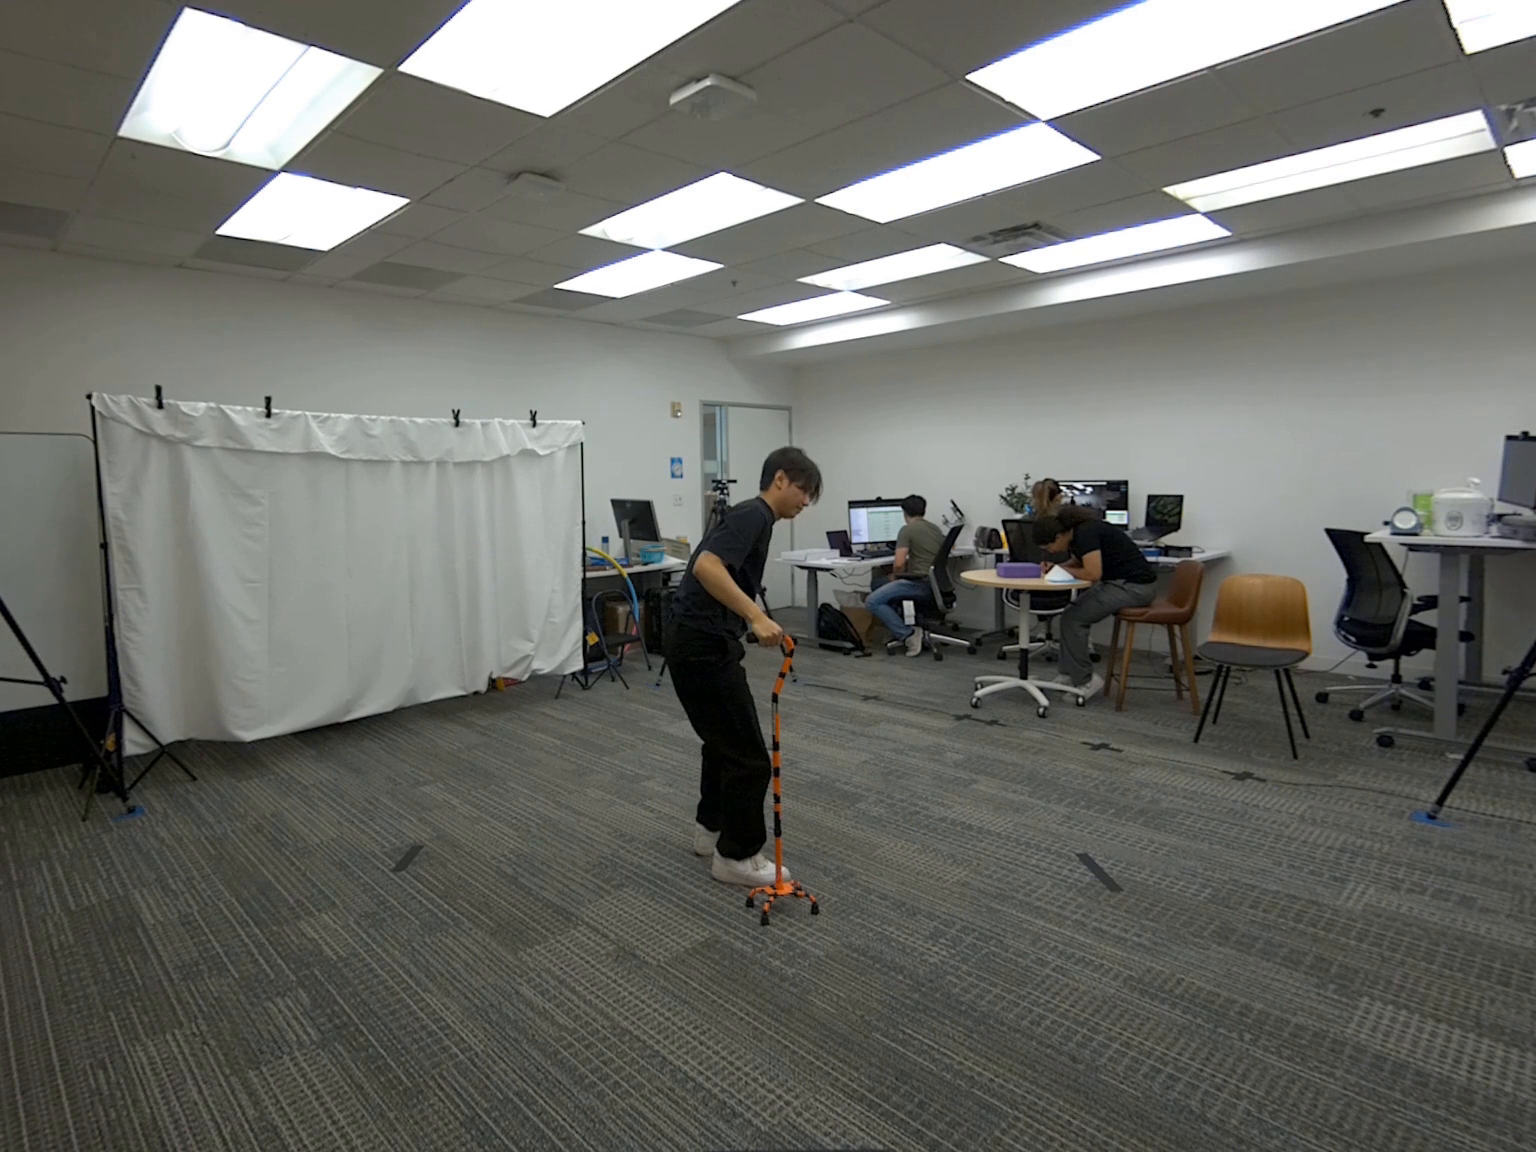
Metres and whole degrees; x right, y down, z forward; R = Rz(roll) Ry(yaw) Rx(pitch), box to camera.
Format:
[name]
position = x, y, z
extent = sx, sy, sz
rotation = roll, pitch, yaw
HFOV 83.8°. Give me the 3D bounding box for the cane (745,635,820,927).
[cane]
position = 0.039, 0.630, 2.756
extent = 0.202, 0.906, 0.155
rotation = -2, 3, -24
